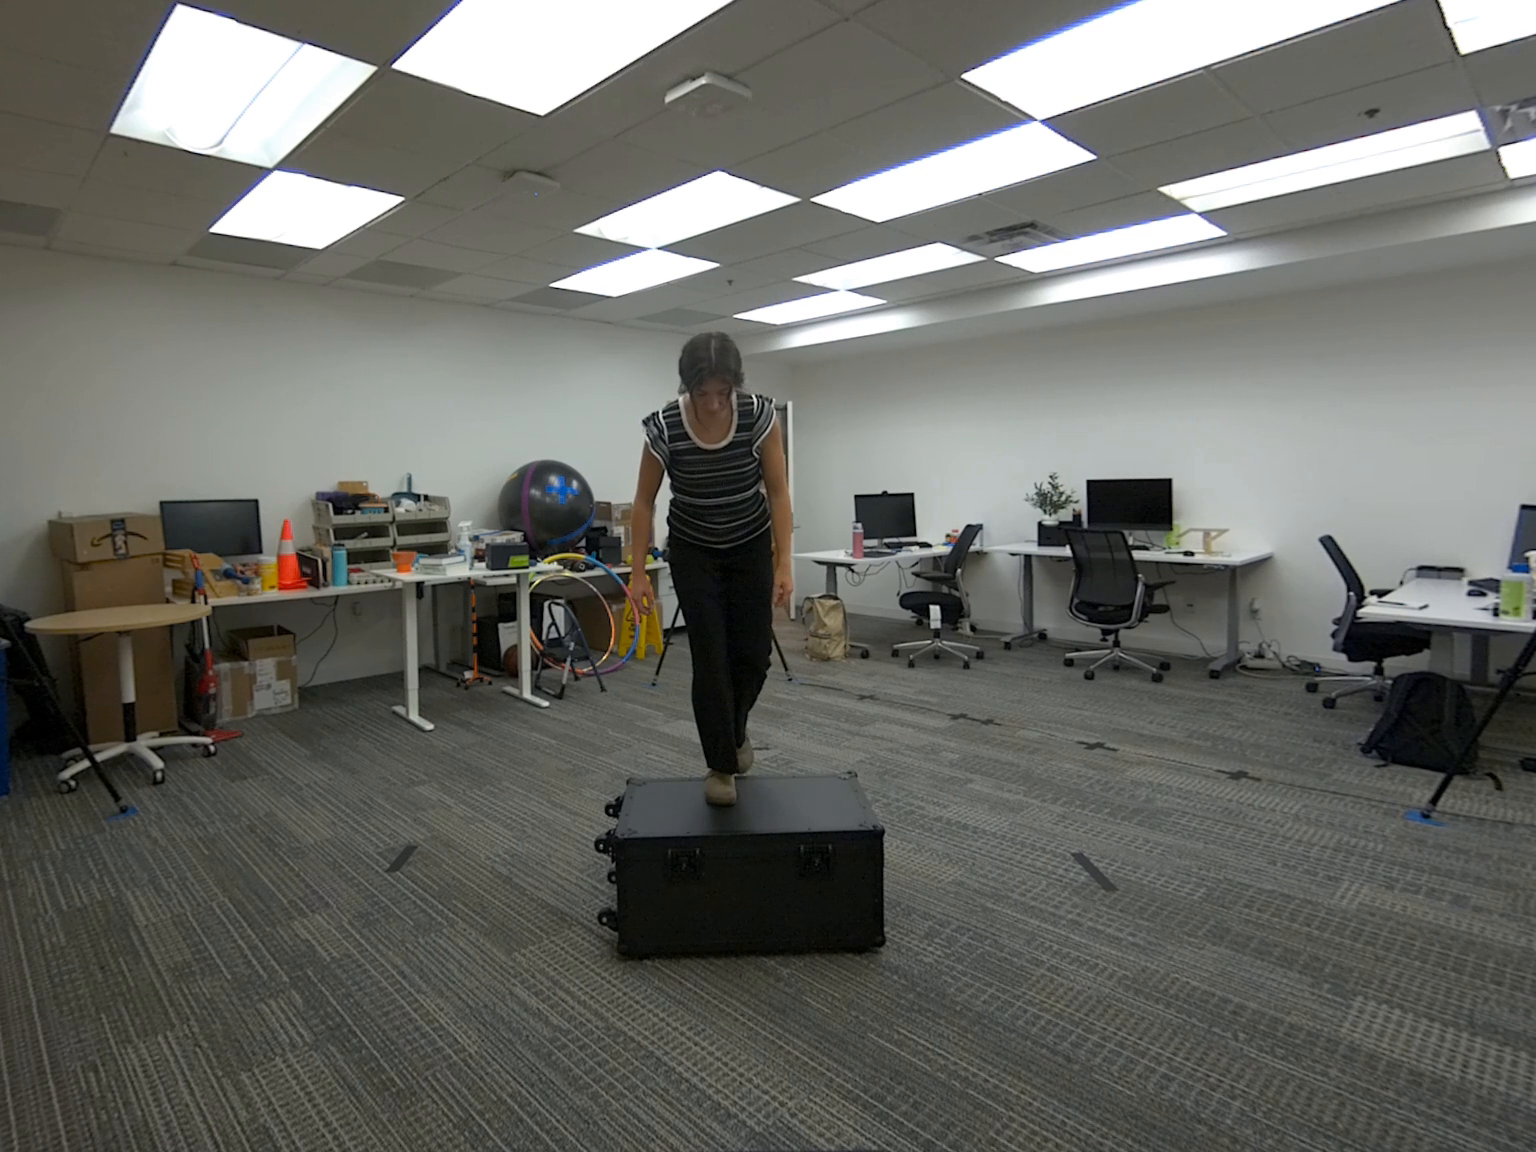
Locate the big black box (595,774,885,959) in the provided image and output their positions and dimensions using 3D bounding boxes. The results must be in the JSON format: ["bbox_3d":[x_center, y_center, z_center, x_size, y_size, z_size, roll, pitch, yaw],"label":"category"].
[{"bbox_3d":[-0.099,0.899,2.716,0.860,0.395,0.524,-1,5,-2],"label":"big black box"}]
